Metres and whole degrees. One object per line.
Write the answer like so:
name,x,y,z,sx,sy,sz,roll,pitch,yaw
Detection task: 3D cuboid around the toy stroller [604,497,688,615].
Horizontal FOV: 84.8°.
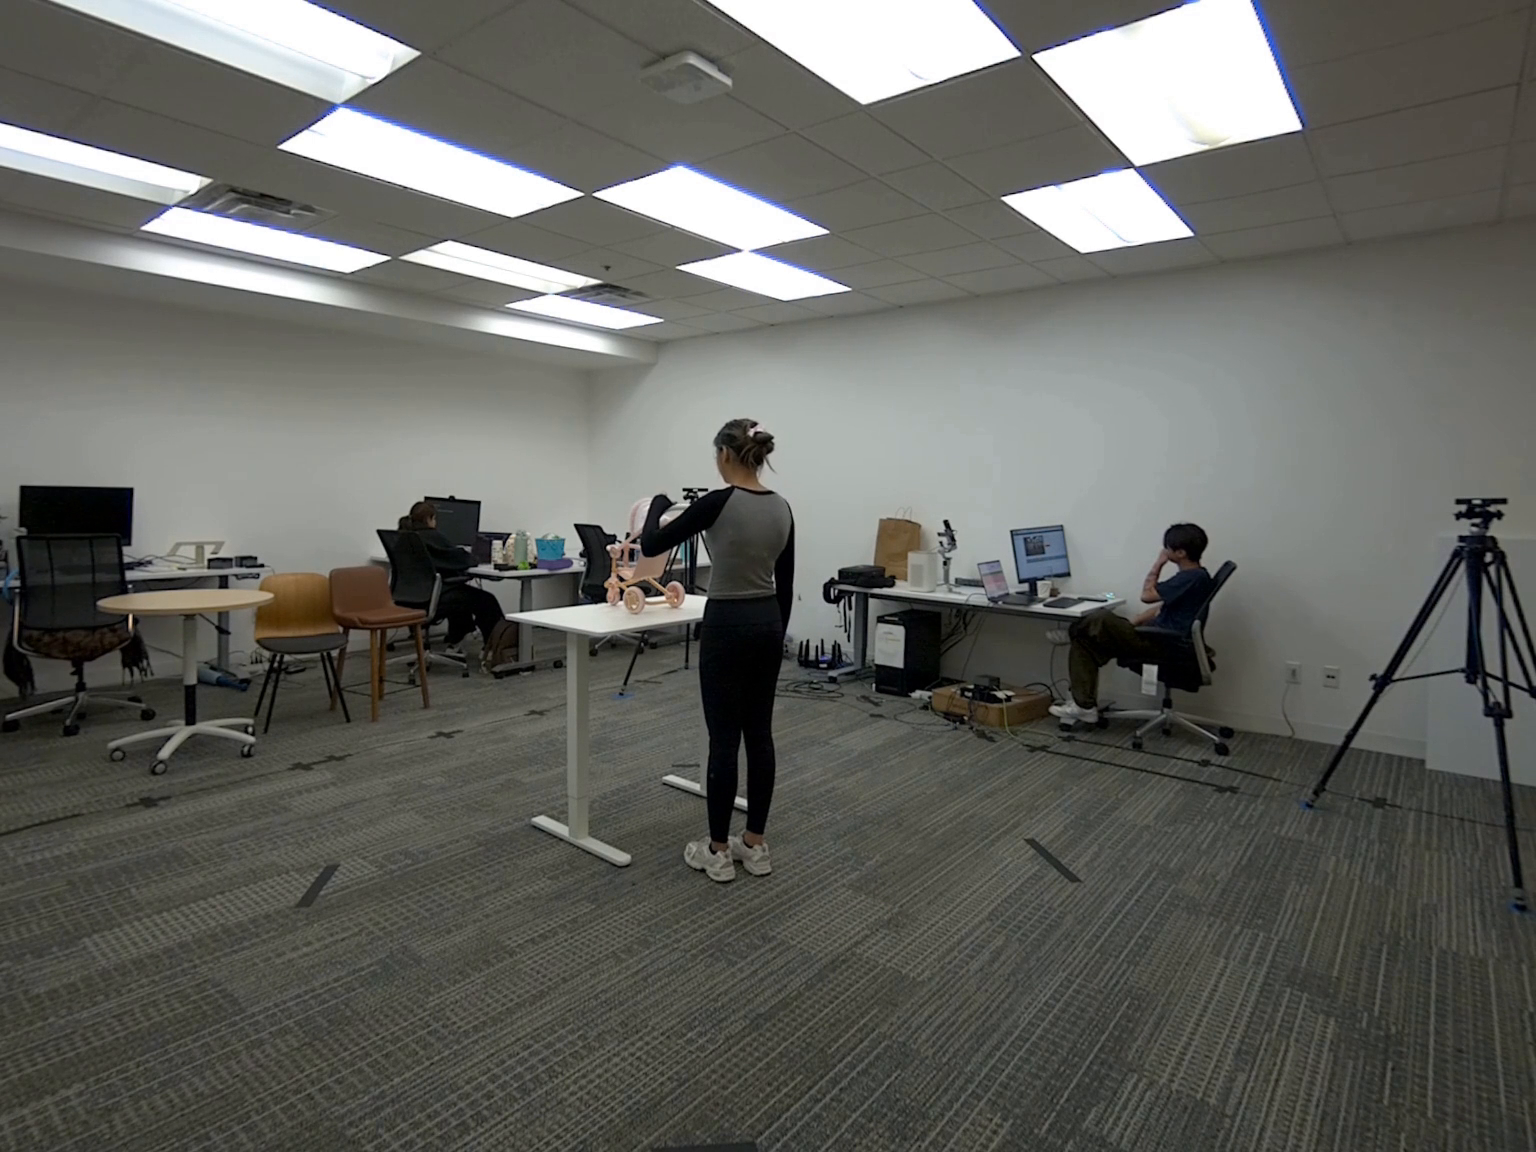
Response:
toy stroller,-0.528,-0.087,3.565,0.355,0.530,0.273,22,15,39
